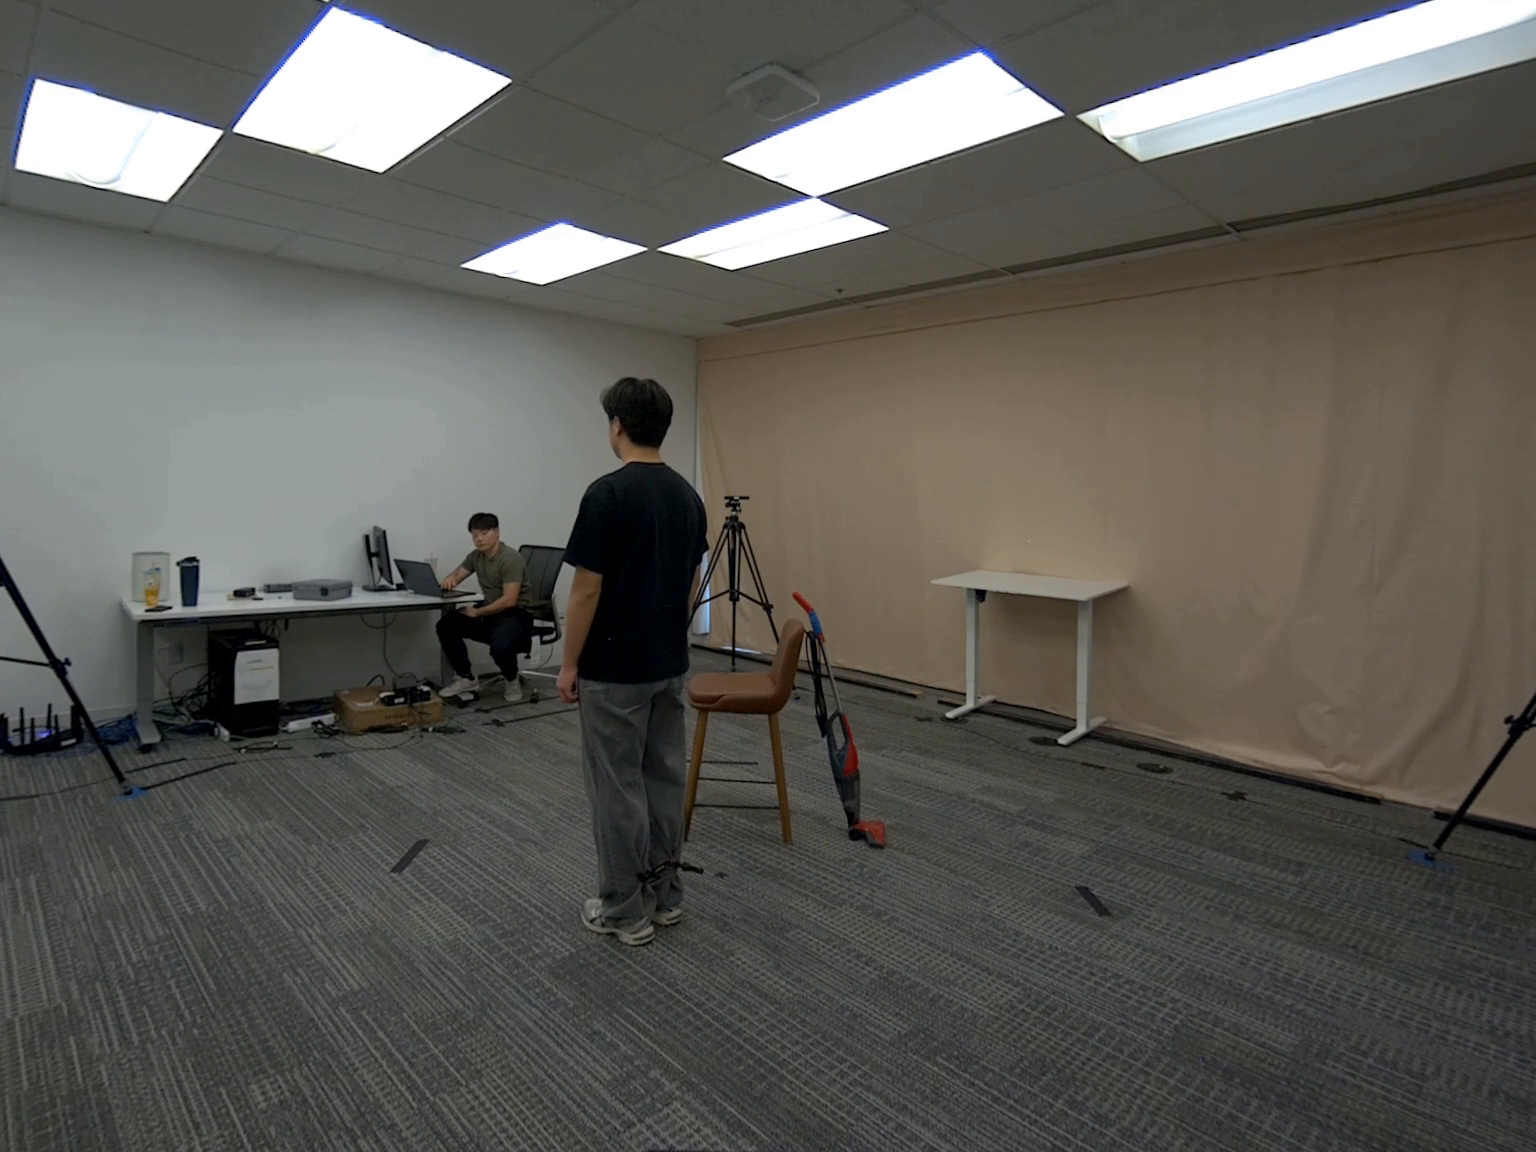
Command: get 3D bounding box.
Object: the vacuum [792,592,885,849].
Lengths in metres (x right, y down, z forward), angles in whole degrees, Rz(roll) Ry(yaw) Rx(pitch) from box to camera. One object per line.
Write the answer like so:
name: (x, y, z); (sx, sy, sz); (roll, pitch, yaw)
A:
vacuum: (0.262, 0.574, 3.526); (0.144, 1.052, 0.251); (-16, -2, 3)
